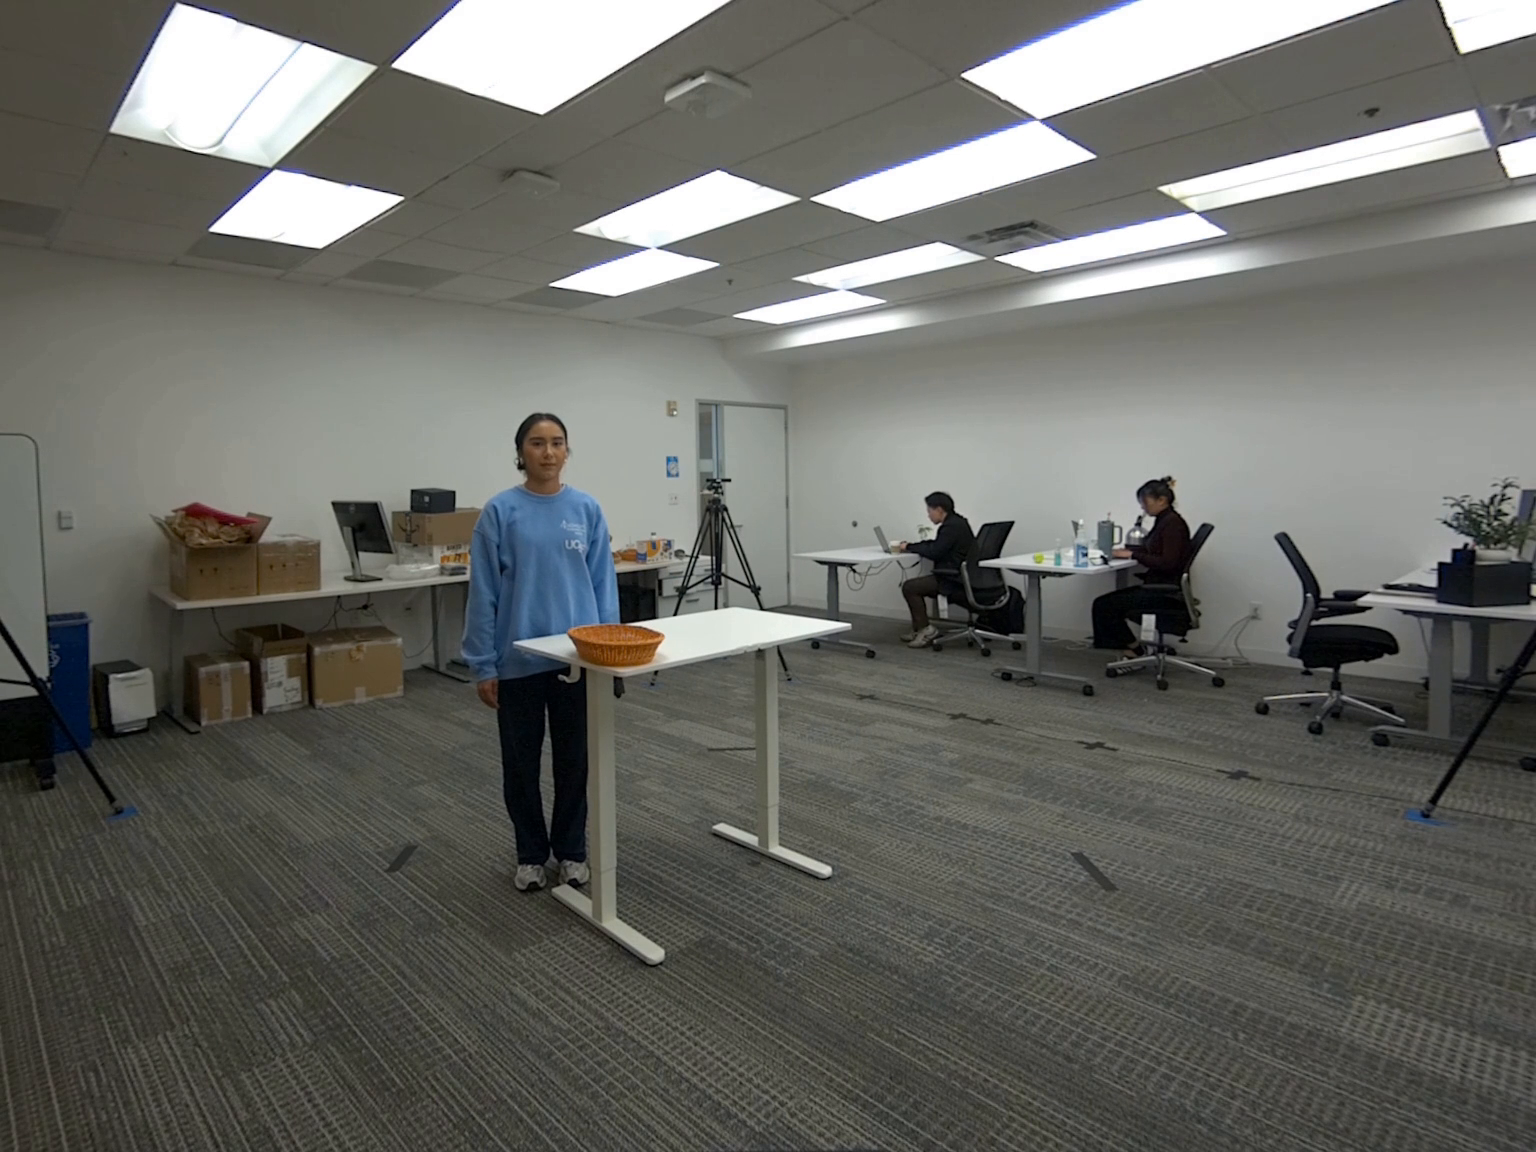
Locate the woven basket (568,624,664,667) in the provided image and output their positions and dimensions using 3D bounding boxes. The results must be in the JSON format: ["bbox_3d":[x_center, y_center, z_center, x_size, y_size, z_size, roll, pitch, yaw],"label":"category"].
[{"bbox_3d":[-0.450,0.210,2.513,0.246,0.073,0.360,-4,7,-31],"label":"woven basket"}]
